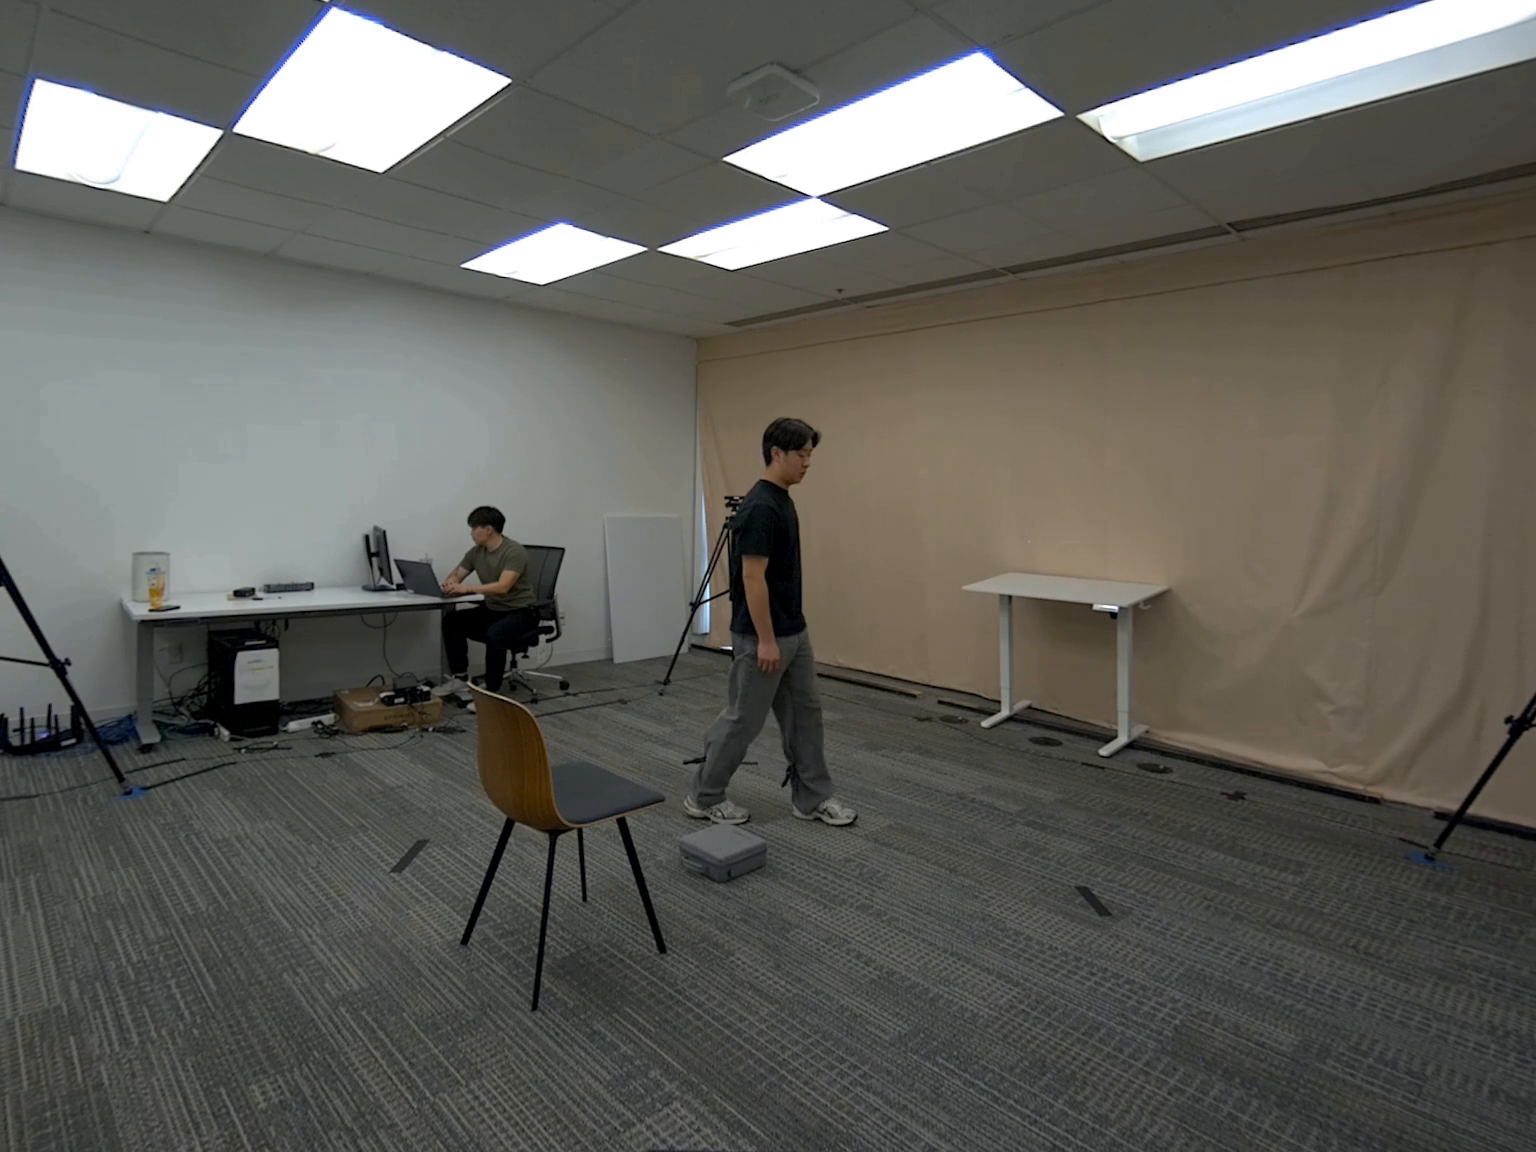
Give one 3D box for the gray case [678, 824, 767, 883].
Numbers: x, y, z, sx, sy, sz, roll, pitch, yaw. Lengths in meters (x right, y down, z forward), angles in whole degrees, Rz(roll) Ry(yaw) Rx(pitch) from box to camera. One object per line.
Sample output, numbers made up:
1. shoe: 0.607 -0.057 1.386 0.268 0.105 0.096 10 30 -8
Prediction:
1. gray case: -0.184 1.043 3.177 0.281 0.102 0.270 -5 9 -44
